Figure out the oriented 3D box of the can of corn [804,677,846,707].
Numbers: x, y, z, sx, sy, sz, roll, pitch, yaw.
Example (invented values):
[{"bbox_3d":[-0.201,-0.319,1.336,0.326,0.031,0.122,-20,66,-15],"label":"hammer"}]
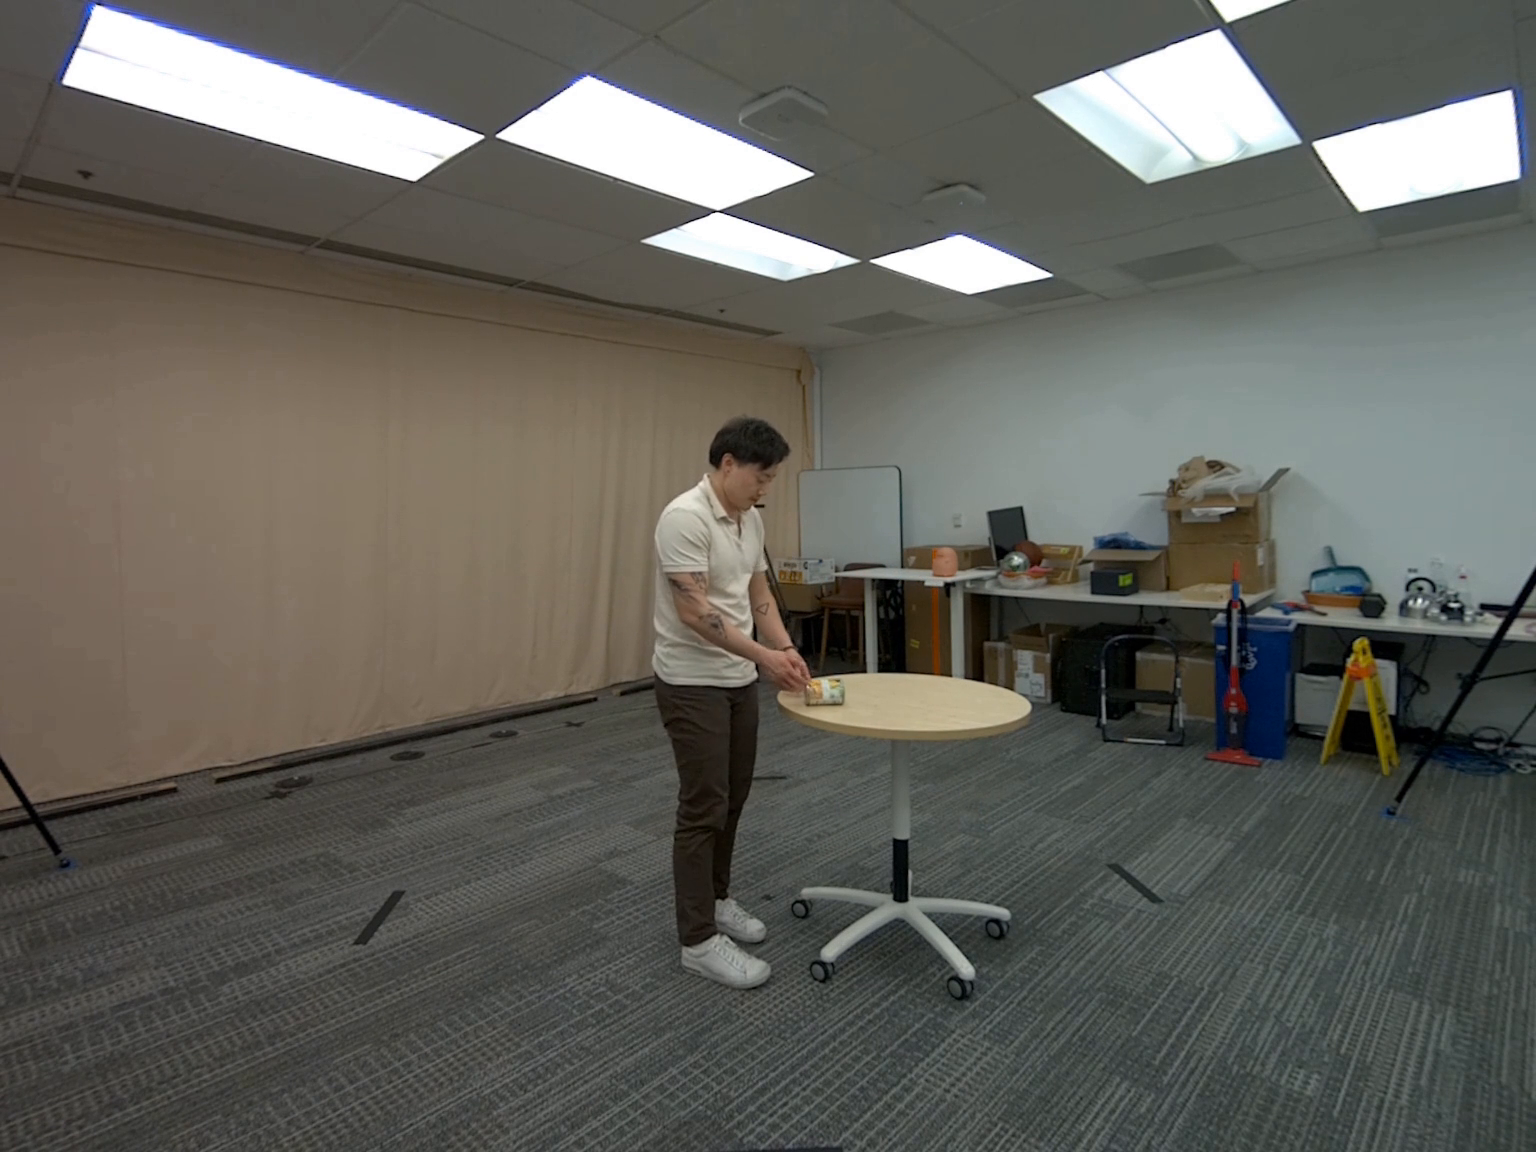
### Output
[{"bbox_3d":[0.173,0.350,2.534,0.111,0.074,0.074,-1,4,-2],"label":"can of corn"}]
